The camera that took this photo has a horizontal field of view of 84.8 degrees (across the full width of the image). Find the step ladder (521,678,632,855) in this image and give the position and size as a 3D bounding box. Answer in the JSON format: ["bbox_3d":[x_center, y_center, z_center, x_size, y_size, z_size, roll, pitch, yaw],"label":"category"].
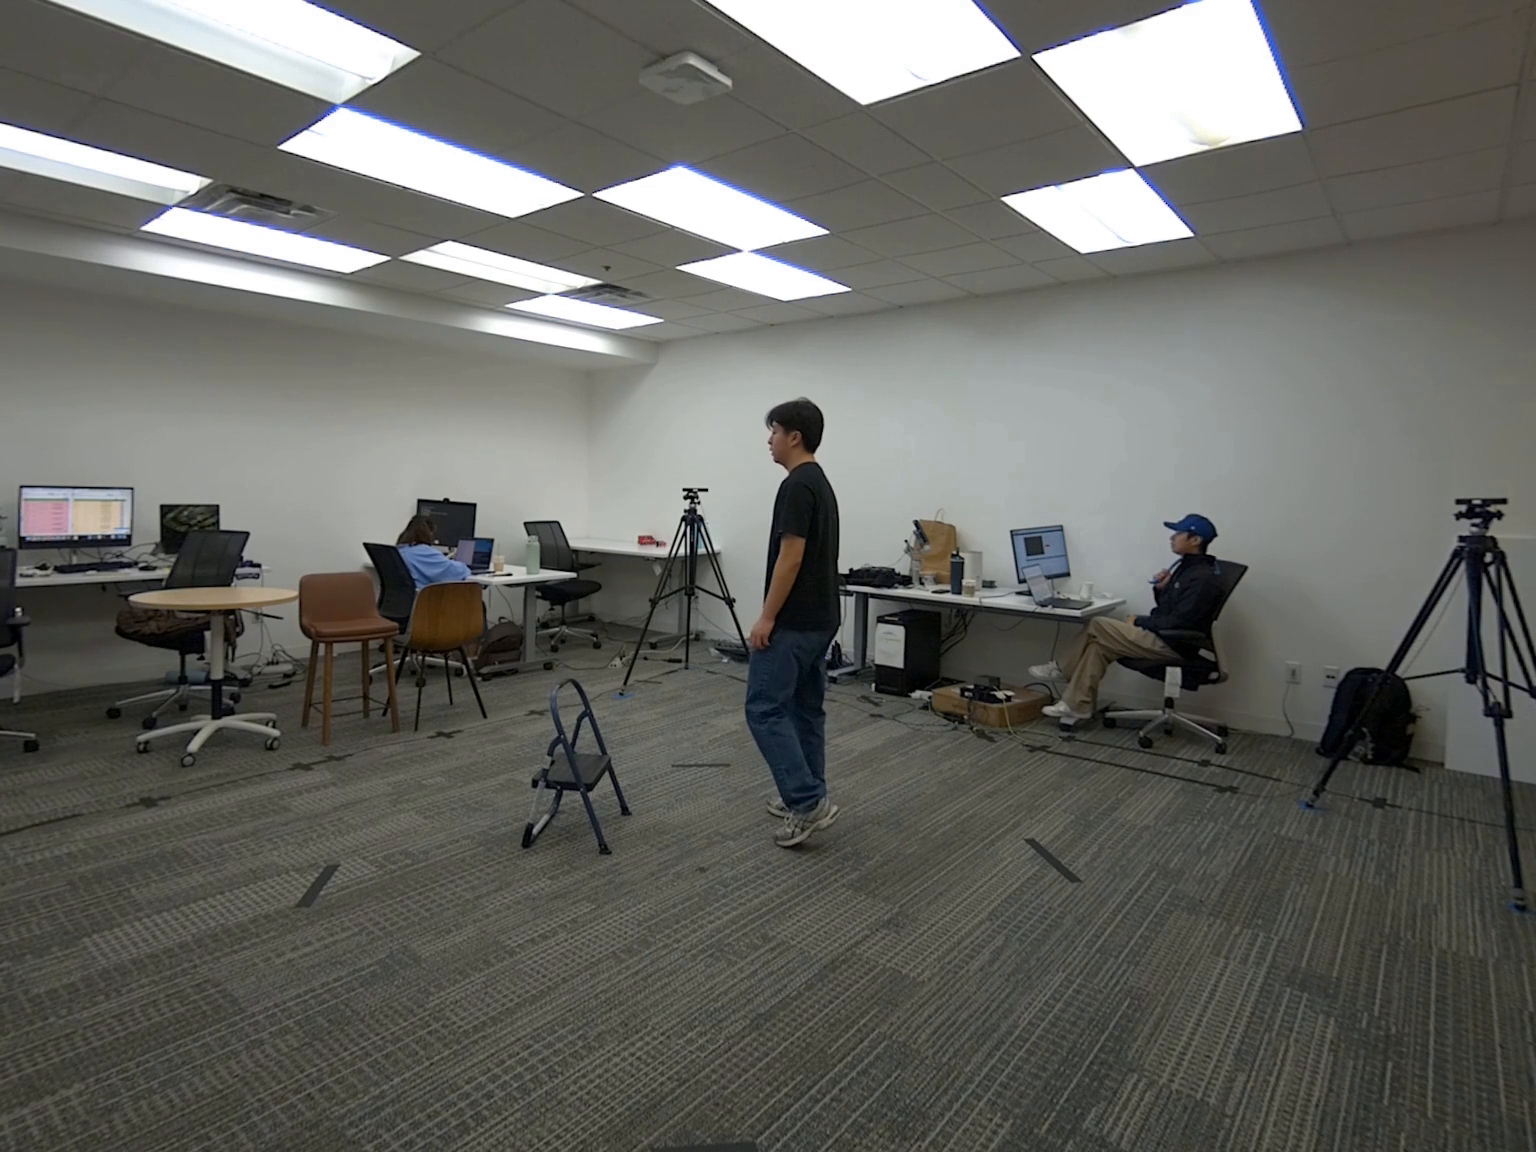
[{"bbox_3d":[-0.772,0.729,3.434,0.351,0.604,0.430,1,4,3],"label":"step ladder"}]
